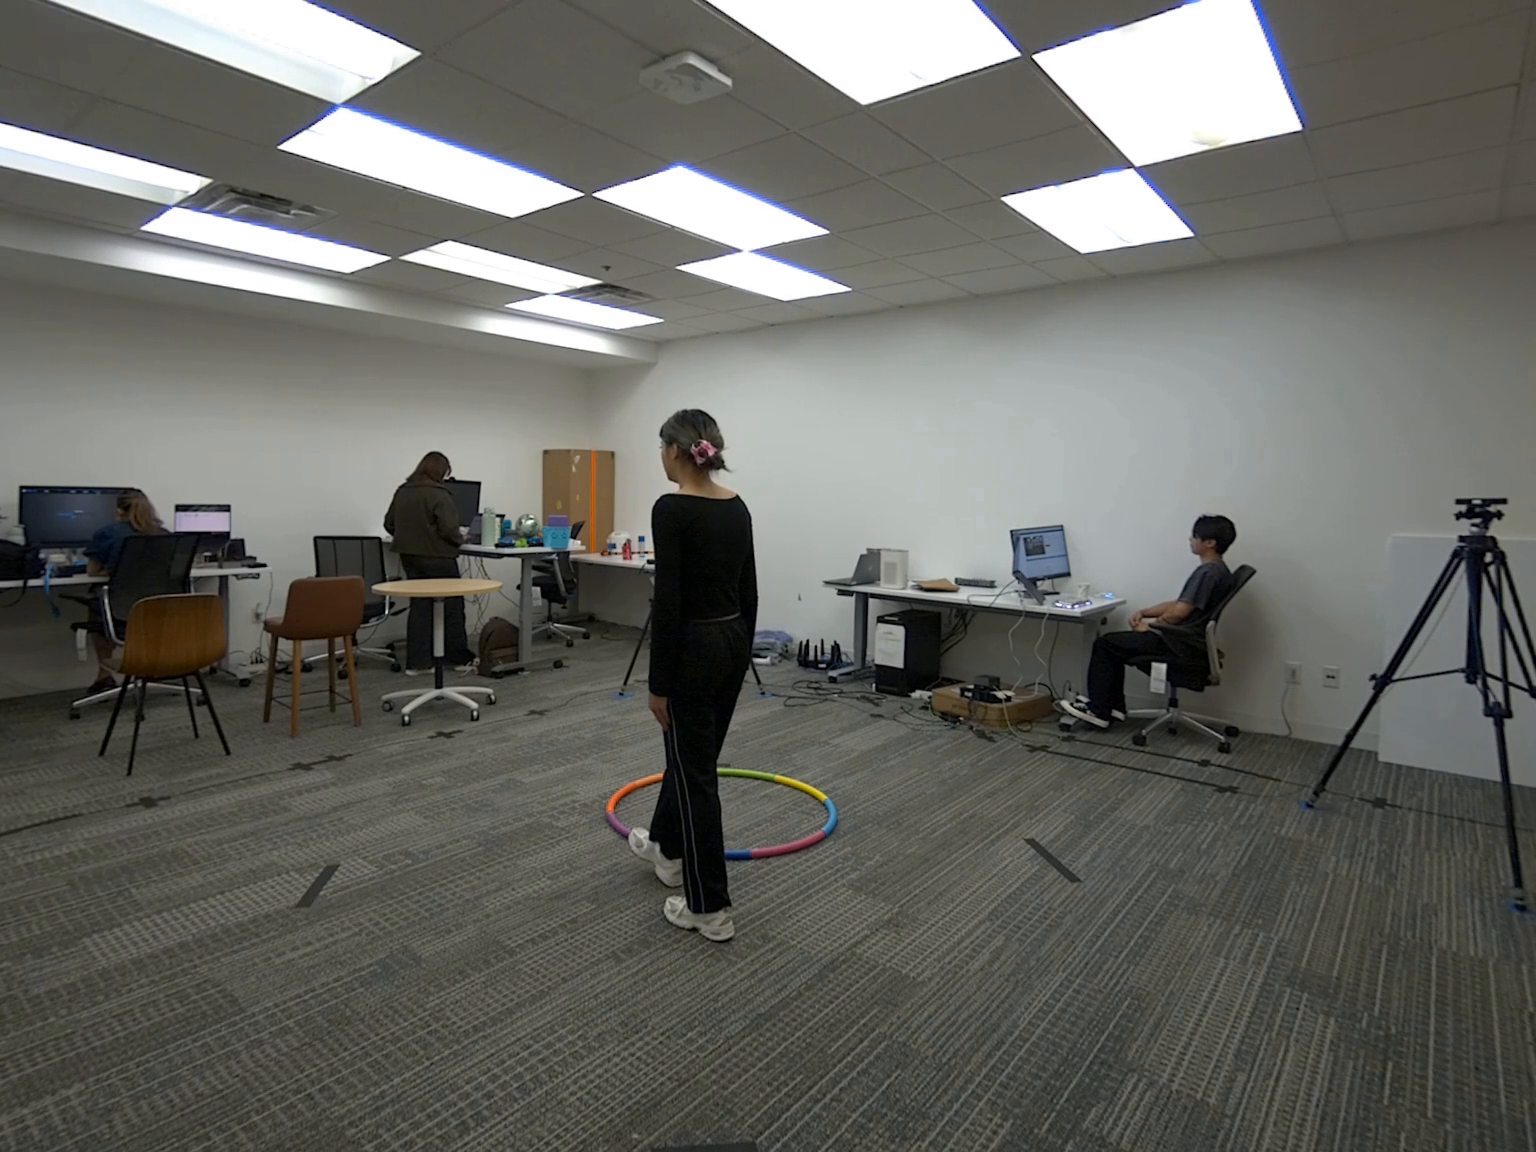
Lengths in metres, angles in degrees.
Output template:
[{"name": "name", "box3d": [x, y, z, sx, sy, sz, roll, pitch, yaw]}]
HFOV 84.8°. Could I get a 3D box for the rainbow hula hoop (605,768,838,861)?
[{"name": "rainbow hula hoop", "box3d": [-0.210, 0.985, 3.665, 0.978, 0.035, 0.984, 1, 6, -2]}]
